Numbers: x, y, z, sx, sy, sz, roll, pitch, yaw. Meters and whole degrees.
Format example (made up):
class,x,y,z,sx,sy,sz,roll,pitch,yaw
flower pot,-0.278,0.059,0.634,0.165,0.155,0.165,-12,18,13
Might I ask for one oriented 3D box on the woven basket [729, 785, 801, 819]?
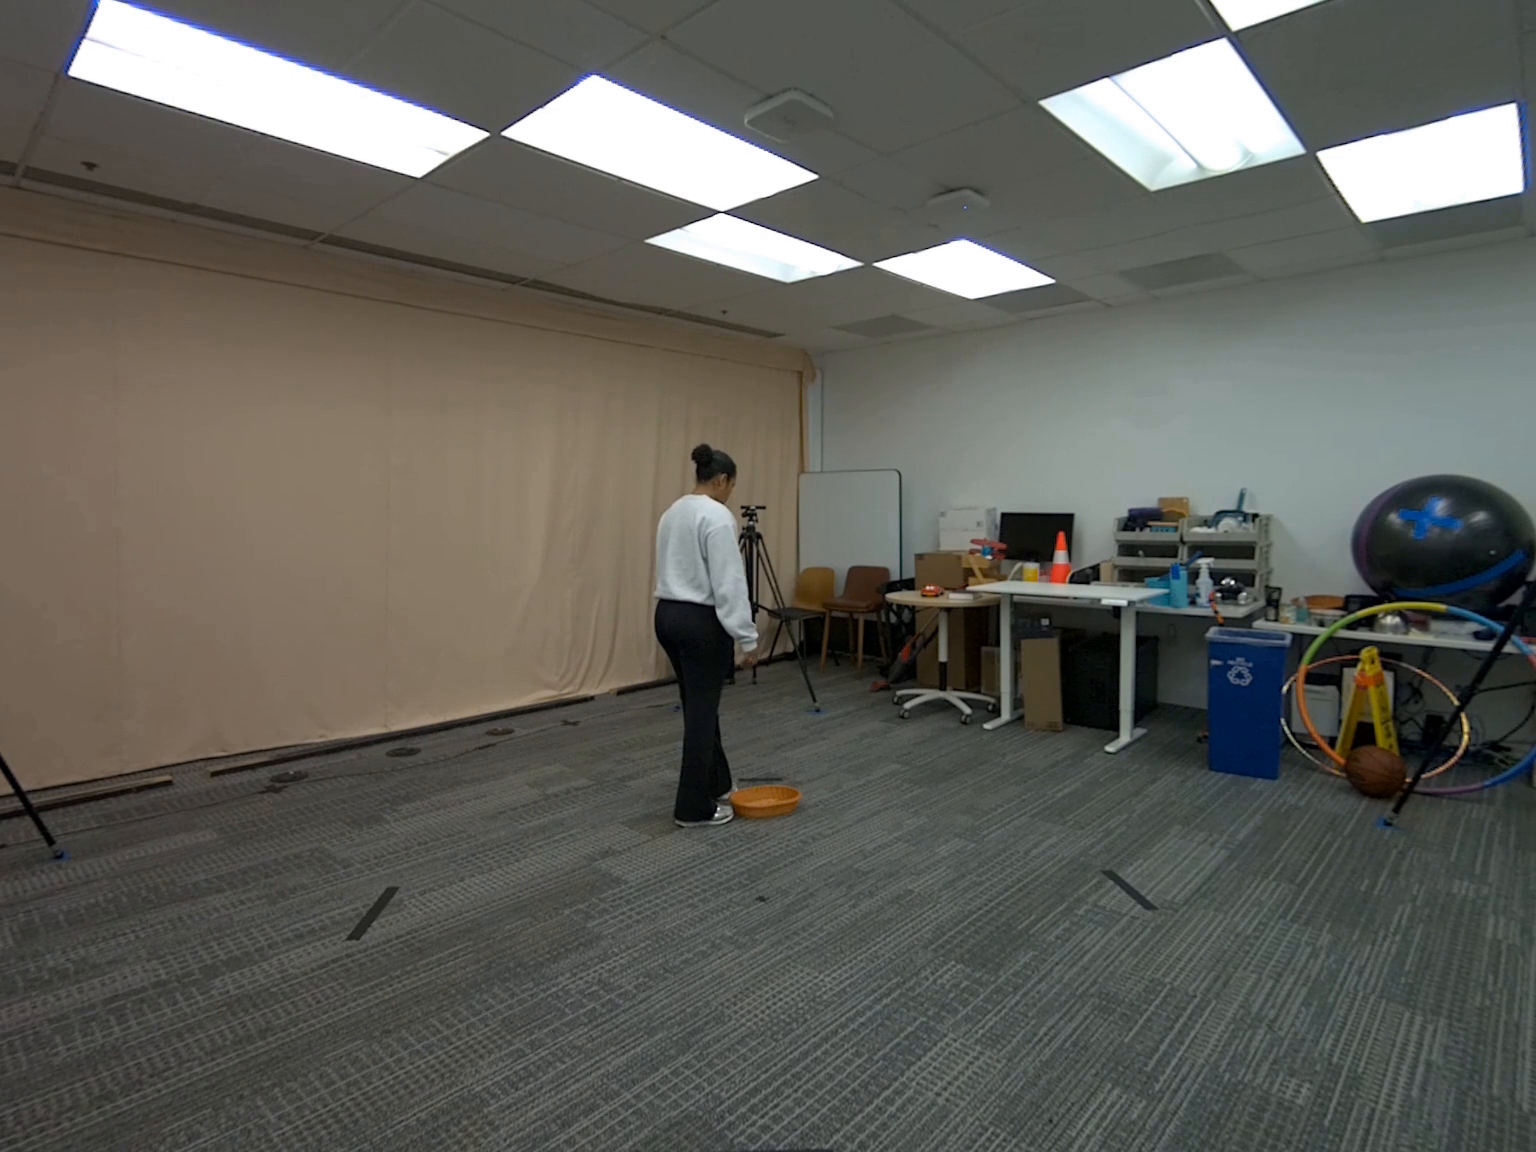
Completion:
class,x,y,z,sx,sy,sz,roll,pitch,yaw
woven basket,-0.012,1.035,3.849,0.343,0.073,0.258,-3,5,-22
